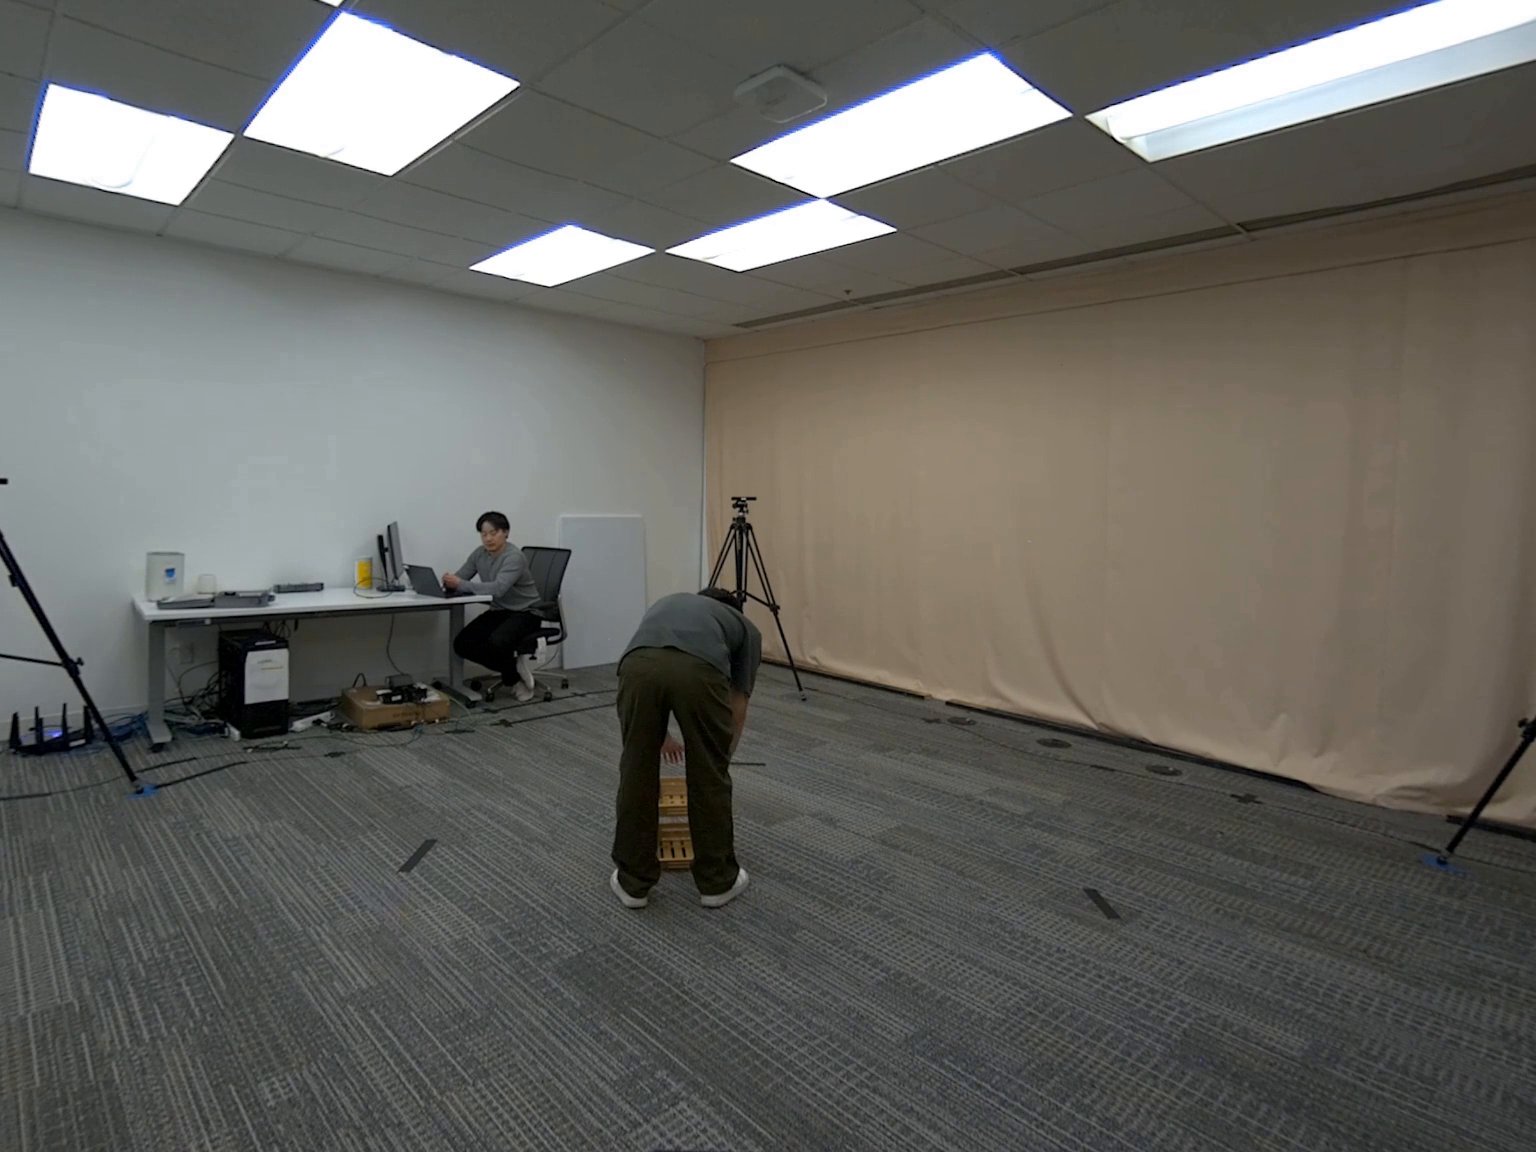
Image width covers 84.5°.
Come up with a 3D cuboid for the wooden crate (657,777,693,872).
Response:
[{"bbox_3d":[-0.310,0.965,3.276,0.322,0.273,0.304,1,1,-8],"label":"wooden crate"}]
